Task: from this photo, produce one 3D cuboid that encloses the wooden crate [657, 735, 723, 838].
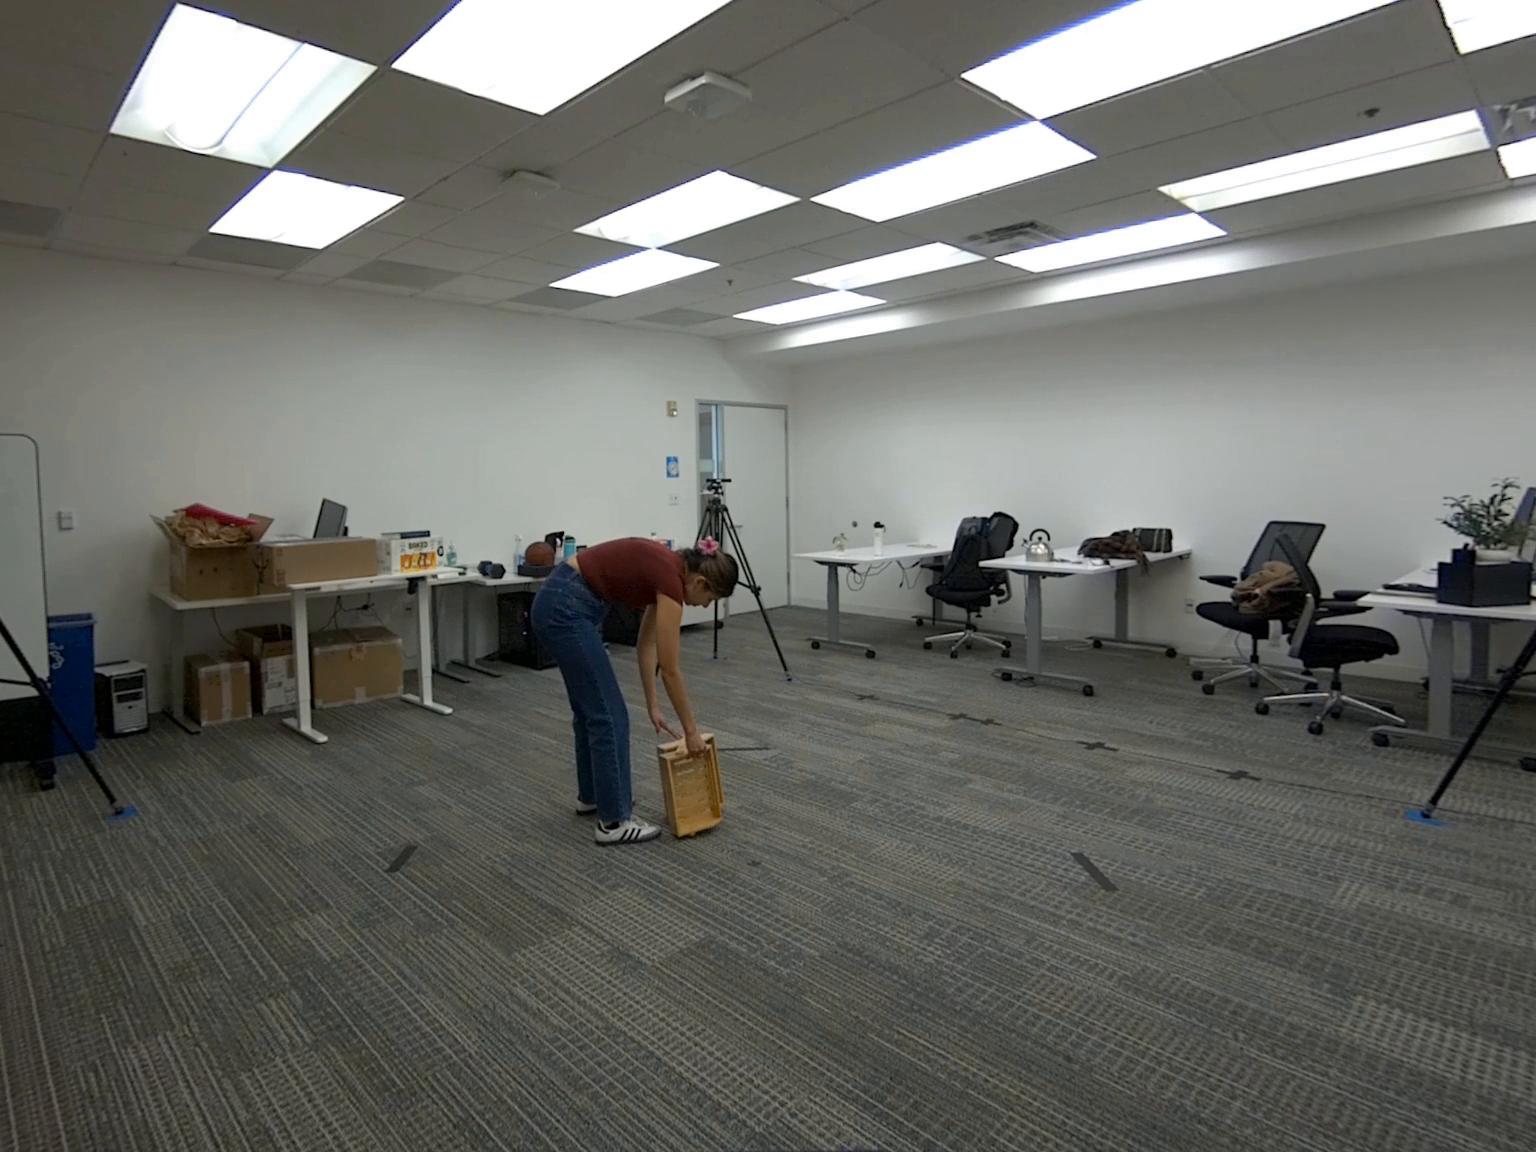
[{"bbox_3d":[-0.294,0.831,3.466,0.296,0.324,0.279,-9,1,-27],"label":"wooden crate"}]
